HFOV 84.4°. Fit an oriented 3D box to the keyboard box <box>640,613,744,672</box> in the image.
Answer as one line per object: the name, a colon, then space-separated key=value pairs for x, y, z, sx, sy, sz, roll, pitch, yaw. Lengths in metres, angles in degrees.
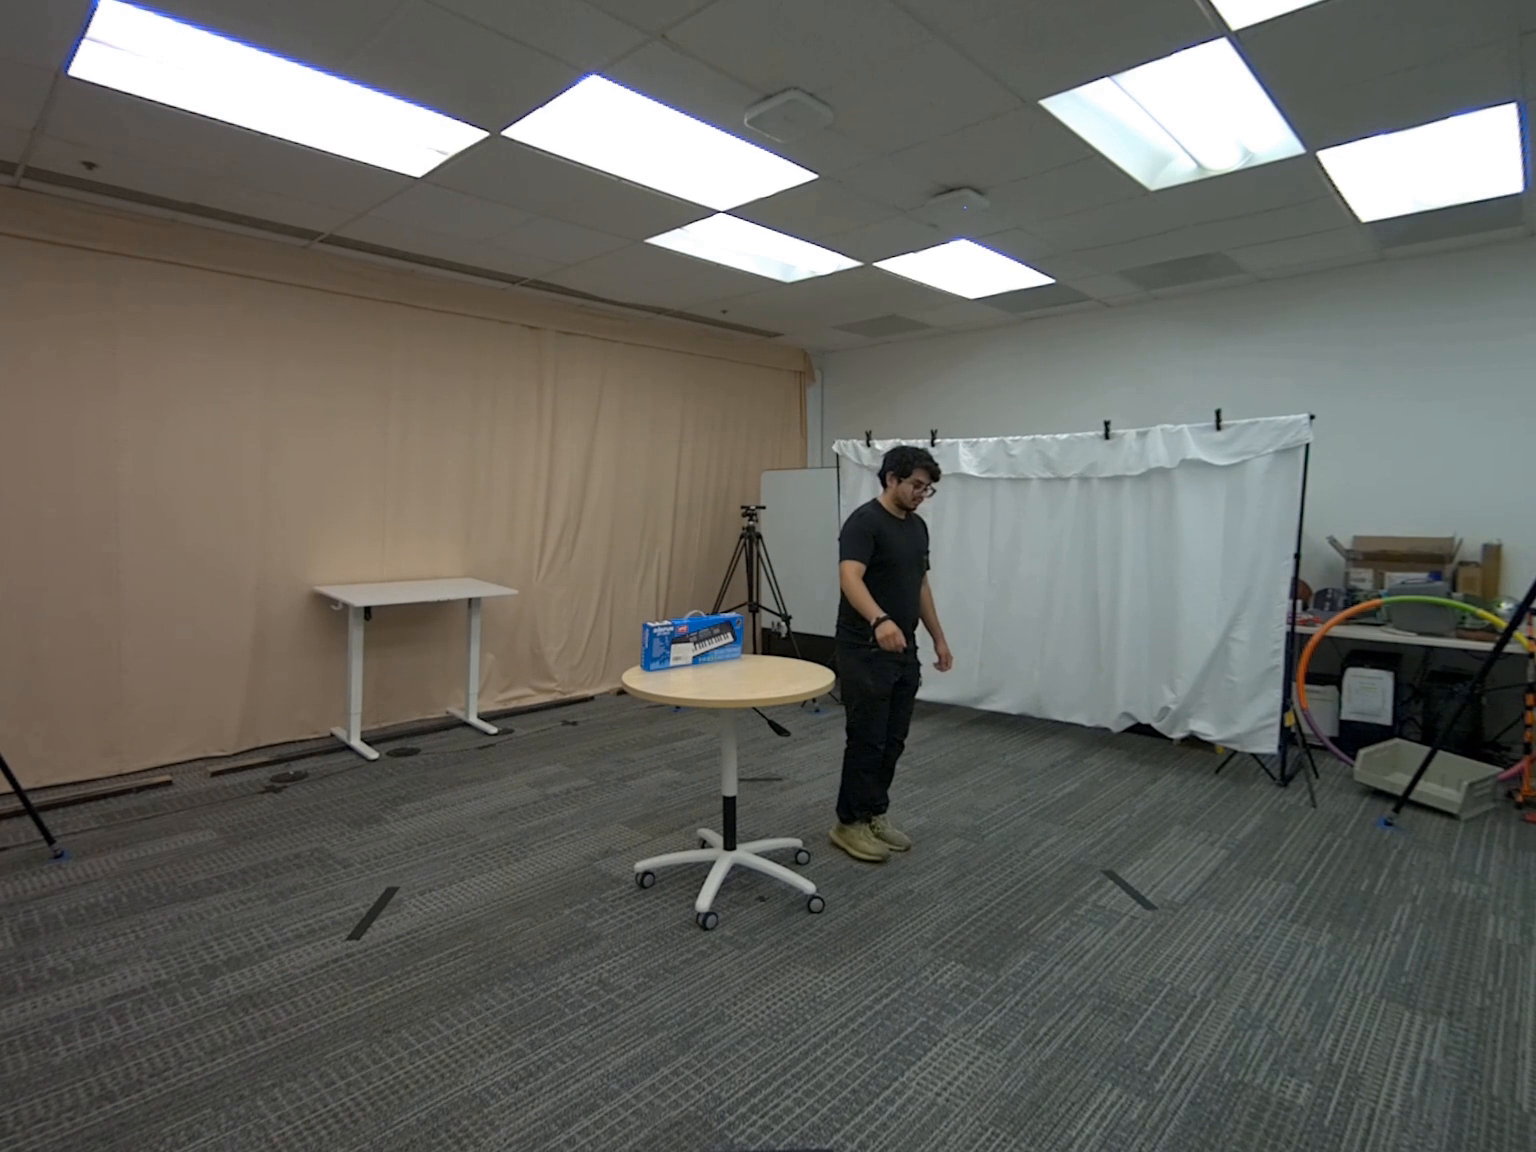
keyboard box: x=-0.285 y=0.252 z=3.235 sx=0.424 sy=0.175 sz=0.061 roll=-4 pitch=11 yaw=-38
